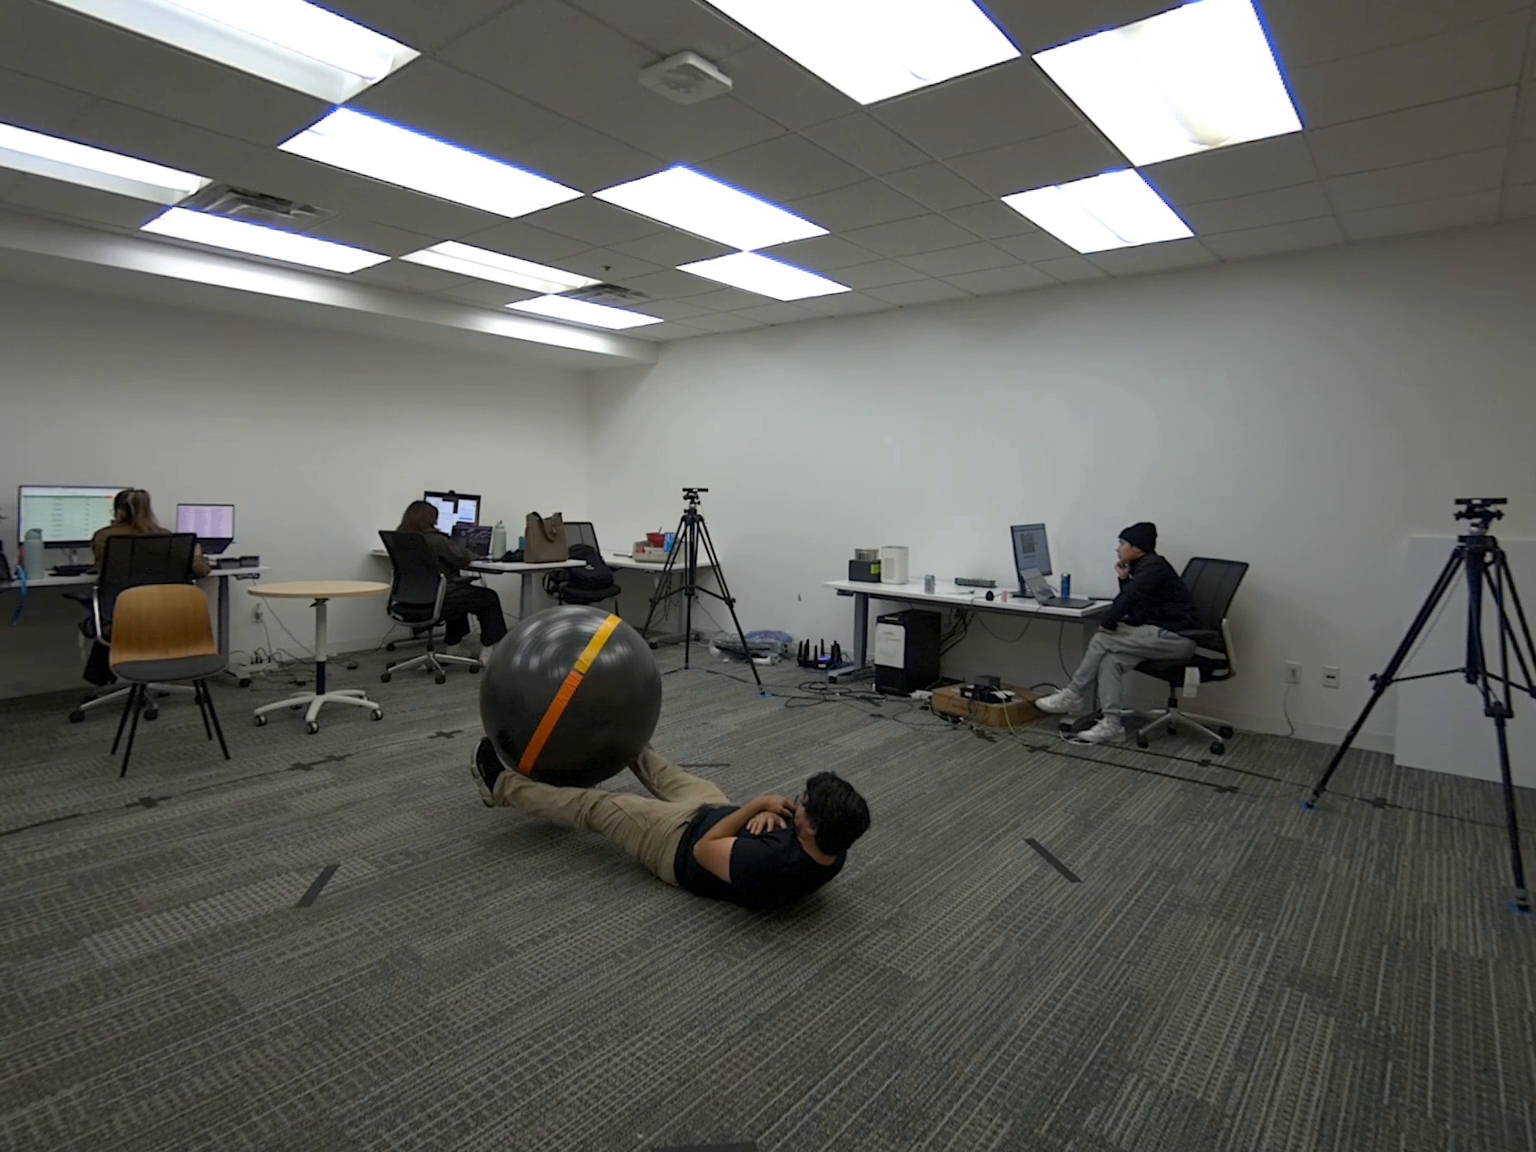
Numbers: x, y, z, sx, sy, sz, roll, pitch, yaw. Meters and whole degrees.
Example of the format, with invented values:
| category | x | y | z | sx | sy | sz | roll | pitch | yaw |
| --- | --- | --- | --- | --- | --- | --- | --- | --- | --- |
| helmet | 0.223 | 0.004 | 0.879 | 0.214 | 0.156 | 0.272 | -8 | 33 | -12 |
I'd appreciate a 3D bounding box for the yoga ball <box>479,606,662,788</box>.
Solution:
| category | x | y | z | sx | sy | sz | roll | pitch | yaw |
| --- | --- | --- | --- | --- | --- | --- | --- | --- | --- |
| yoga ball | -0.843 | 0.504 | 3.594 | 0.757 | 0.755 | 0.762 | 1 | 4 | -2 |
